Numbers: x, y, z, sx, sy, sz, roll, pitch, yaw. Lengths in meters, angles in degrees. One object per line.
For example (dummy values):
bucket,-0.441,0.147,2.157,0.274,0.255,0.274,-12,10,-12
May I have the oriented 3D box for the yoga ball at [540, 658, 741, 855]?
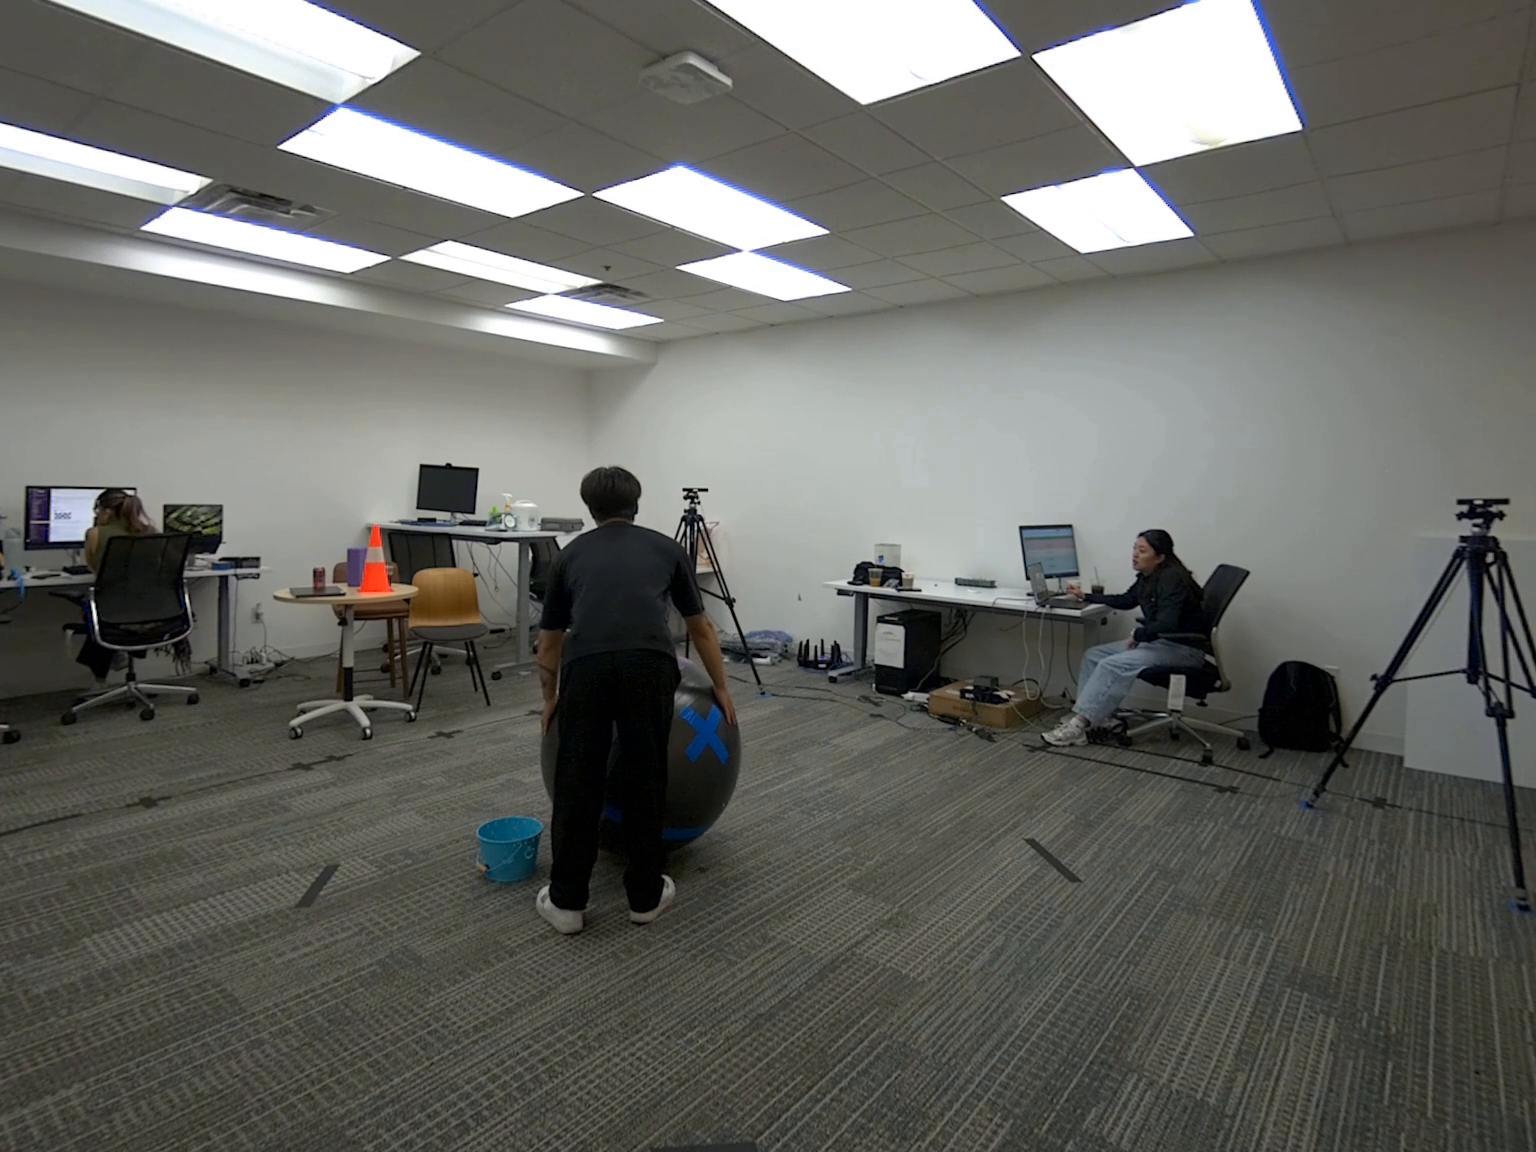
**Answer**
yoga ball,-0.489,0.661,3.223,0.757,0.755,0.762,1,4,-2
